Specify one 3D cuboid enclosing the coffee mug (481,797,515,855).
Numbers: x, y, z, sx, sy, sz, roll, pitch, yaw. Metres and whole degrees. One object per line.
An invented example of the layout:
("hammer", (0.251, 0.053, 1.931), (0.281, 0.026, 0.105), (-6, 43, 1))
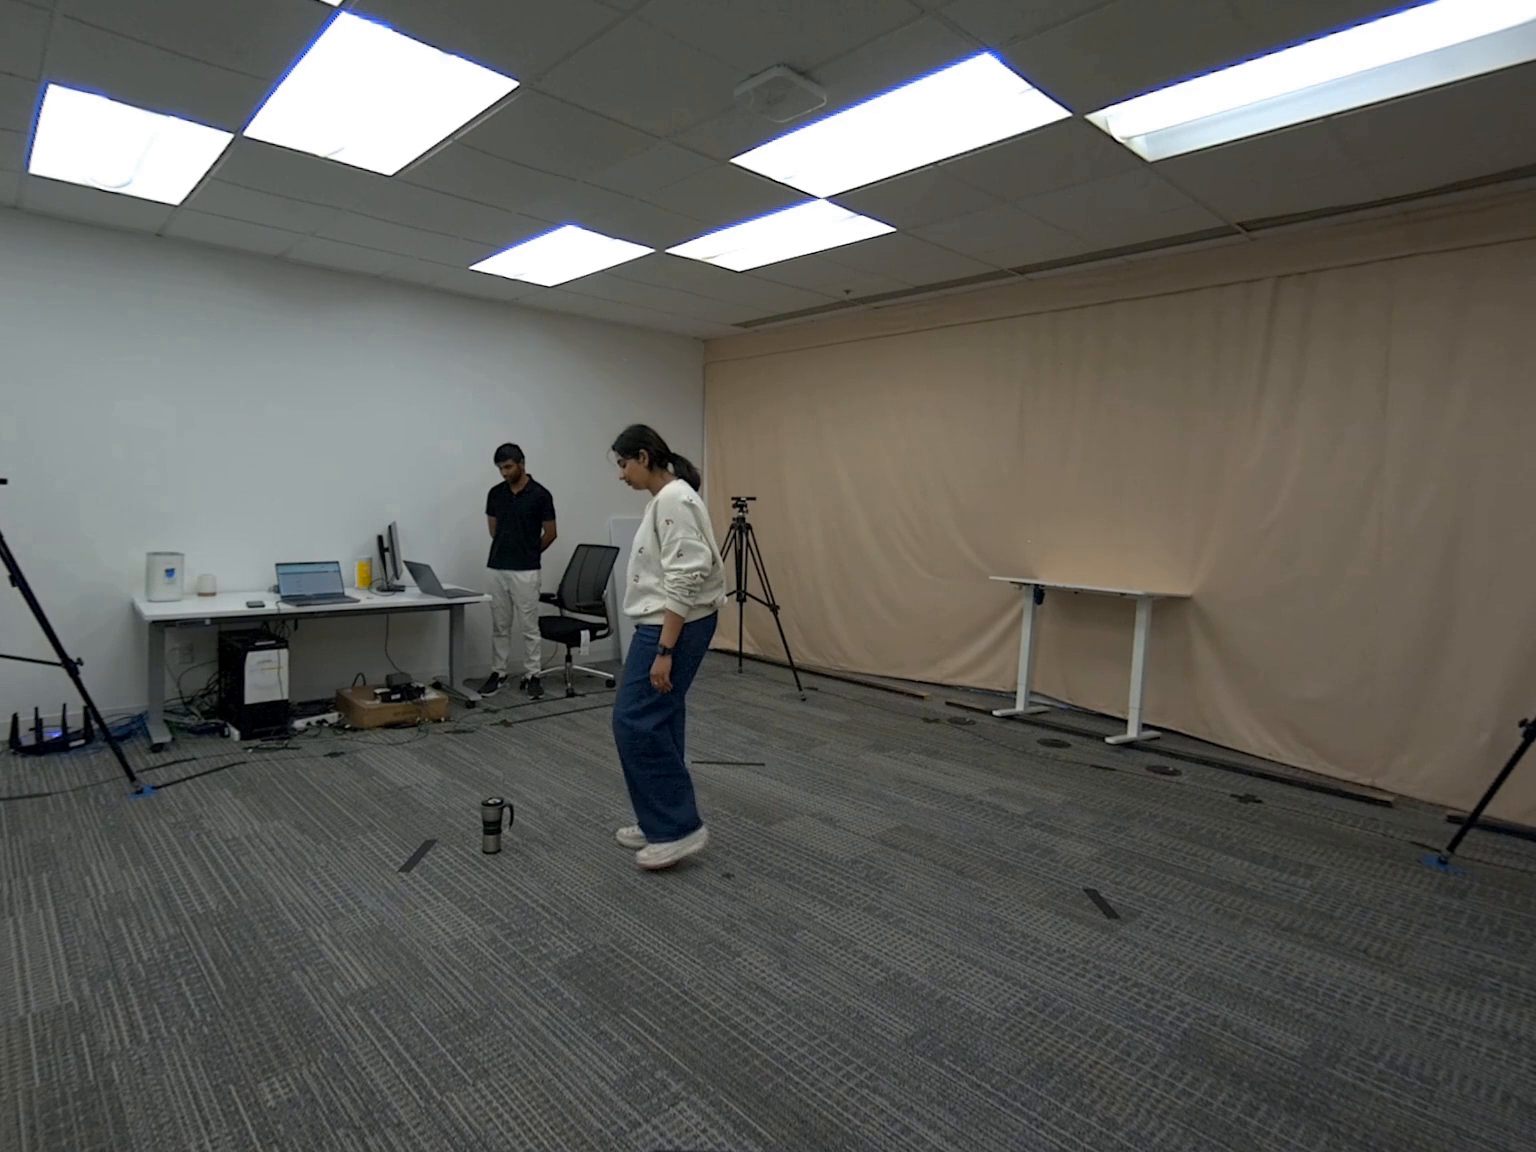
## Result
("coffee mug", (-1.062, 0.968, 3.261), (0.125, 0.203, 0.086), (1, -1, 41))
